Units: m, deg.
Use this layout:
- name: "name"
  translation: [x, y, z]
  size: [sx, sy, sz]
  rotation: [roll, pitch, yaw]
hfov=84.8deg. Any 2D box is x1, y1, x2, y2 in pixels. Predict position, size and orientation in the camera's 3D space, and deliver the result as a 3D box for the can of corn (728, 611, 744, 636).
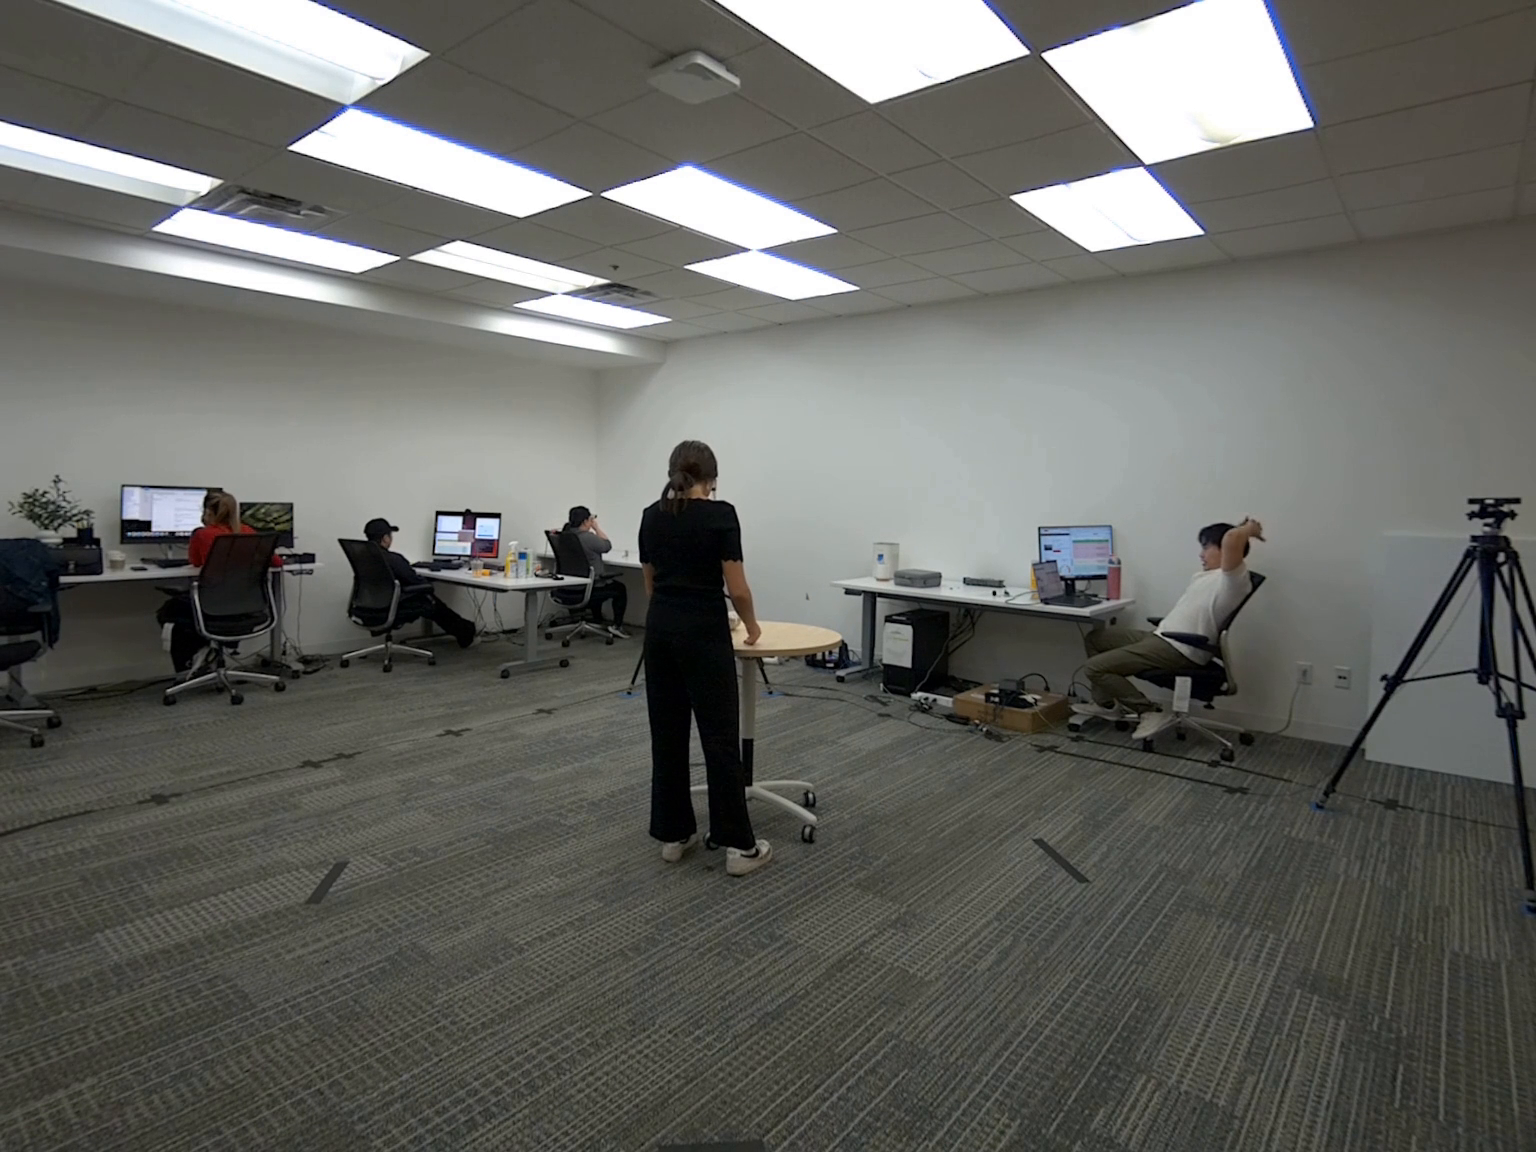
- name: "can of corn"
  translation: [-0.181, 0.194, 3.649]
  size: [0.075, 0.074, 0.110]
  rotation: [2, 7, 16]
